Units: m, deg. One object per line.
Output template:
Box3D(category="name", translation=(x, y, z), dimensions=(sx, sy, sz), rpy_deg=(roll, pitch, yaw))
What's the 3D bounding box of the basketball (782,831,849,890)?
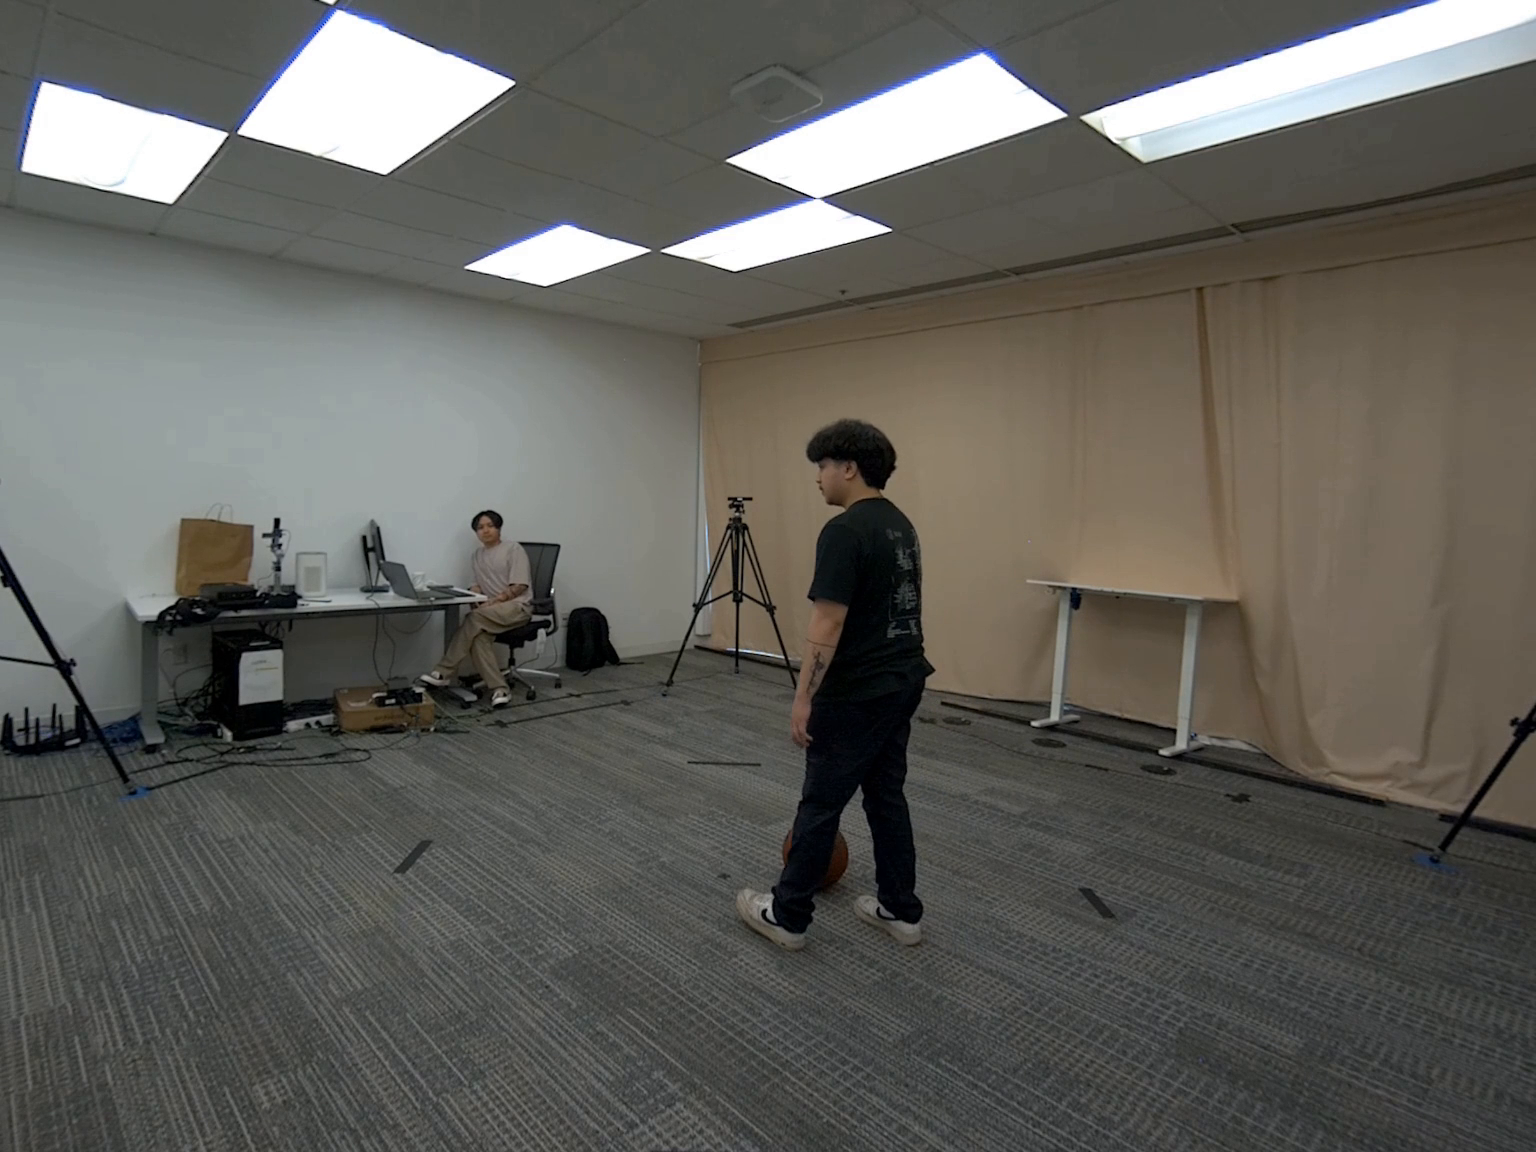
Box3D(category="basketball", translation=(0.164, 1.004, 3.036), dimensions=(0.236, 0.235, 0.237), rpy_deg=(1, 4, -1))
